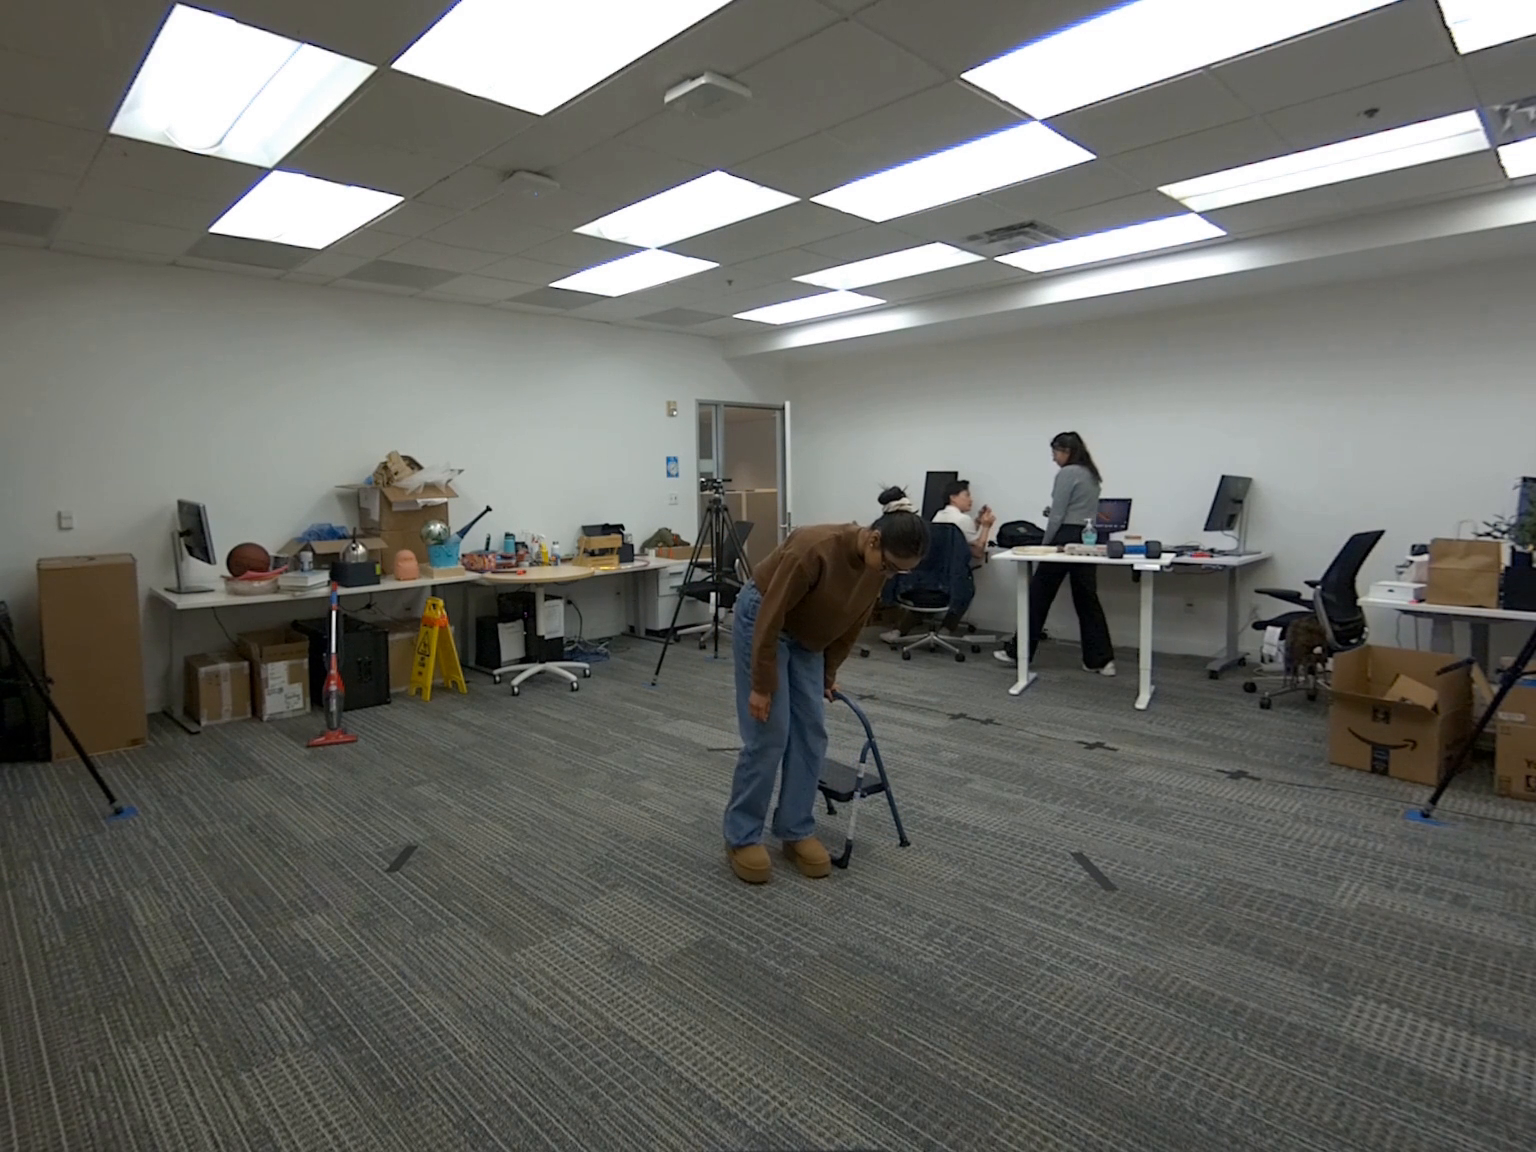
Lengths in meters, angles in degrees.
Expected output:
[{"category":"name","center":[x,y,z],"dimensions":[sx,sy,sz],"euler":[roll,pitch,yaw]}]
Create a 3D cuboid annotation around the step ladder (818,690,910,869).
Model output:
[{"category":"step ladder","center":[0.273,0.714,3.293],"dimensions":[0.340,0.604,0.444],"euler":[-5,6,-38]}]
